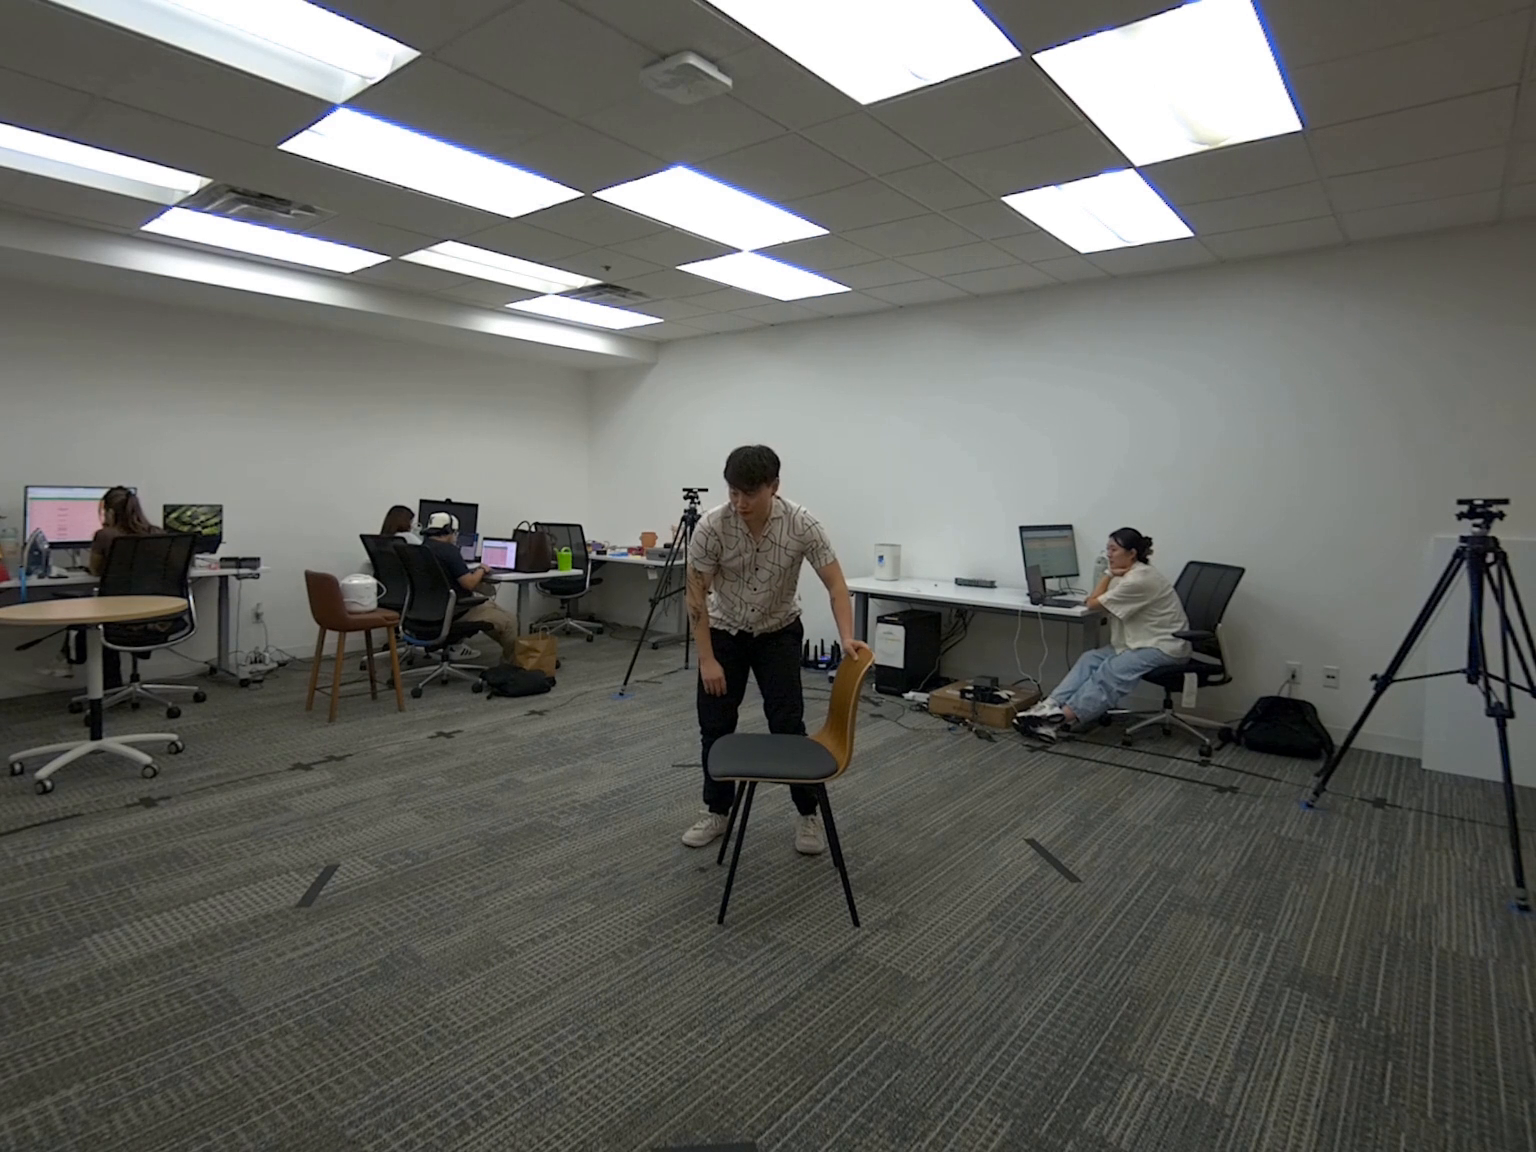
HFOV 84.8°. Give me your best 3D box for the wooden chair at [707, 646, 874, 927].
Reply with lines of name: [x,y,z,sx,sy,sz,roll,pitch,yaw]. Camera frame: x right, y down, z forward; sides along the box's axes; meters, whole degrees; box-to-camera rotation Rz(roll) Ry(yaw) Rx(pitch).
wooden chair: [0.055,0.668,2.910,0.522,0.874,0.481,5,4,-4]
